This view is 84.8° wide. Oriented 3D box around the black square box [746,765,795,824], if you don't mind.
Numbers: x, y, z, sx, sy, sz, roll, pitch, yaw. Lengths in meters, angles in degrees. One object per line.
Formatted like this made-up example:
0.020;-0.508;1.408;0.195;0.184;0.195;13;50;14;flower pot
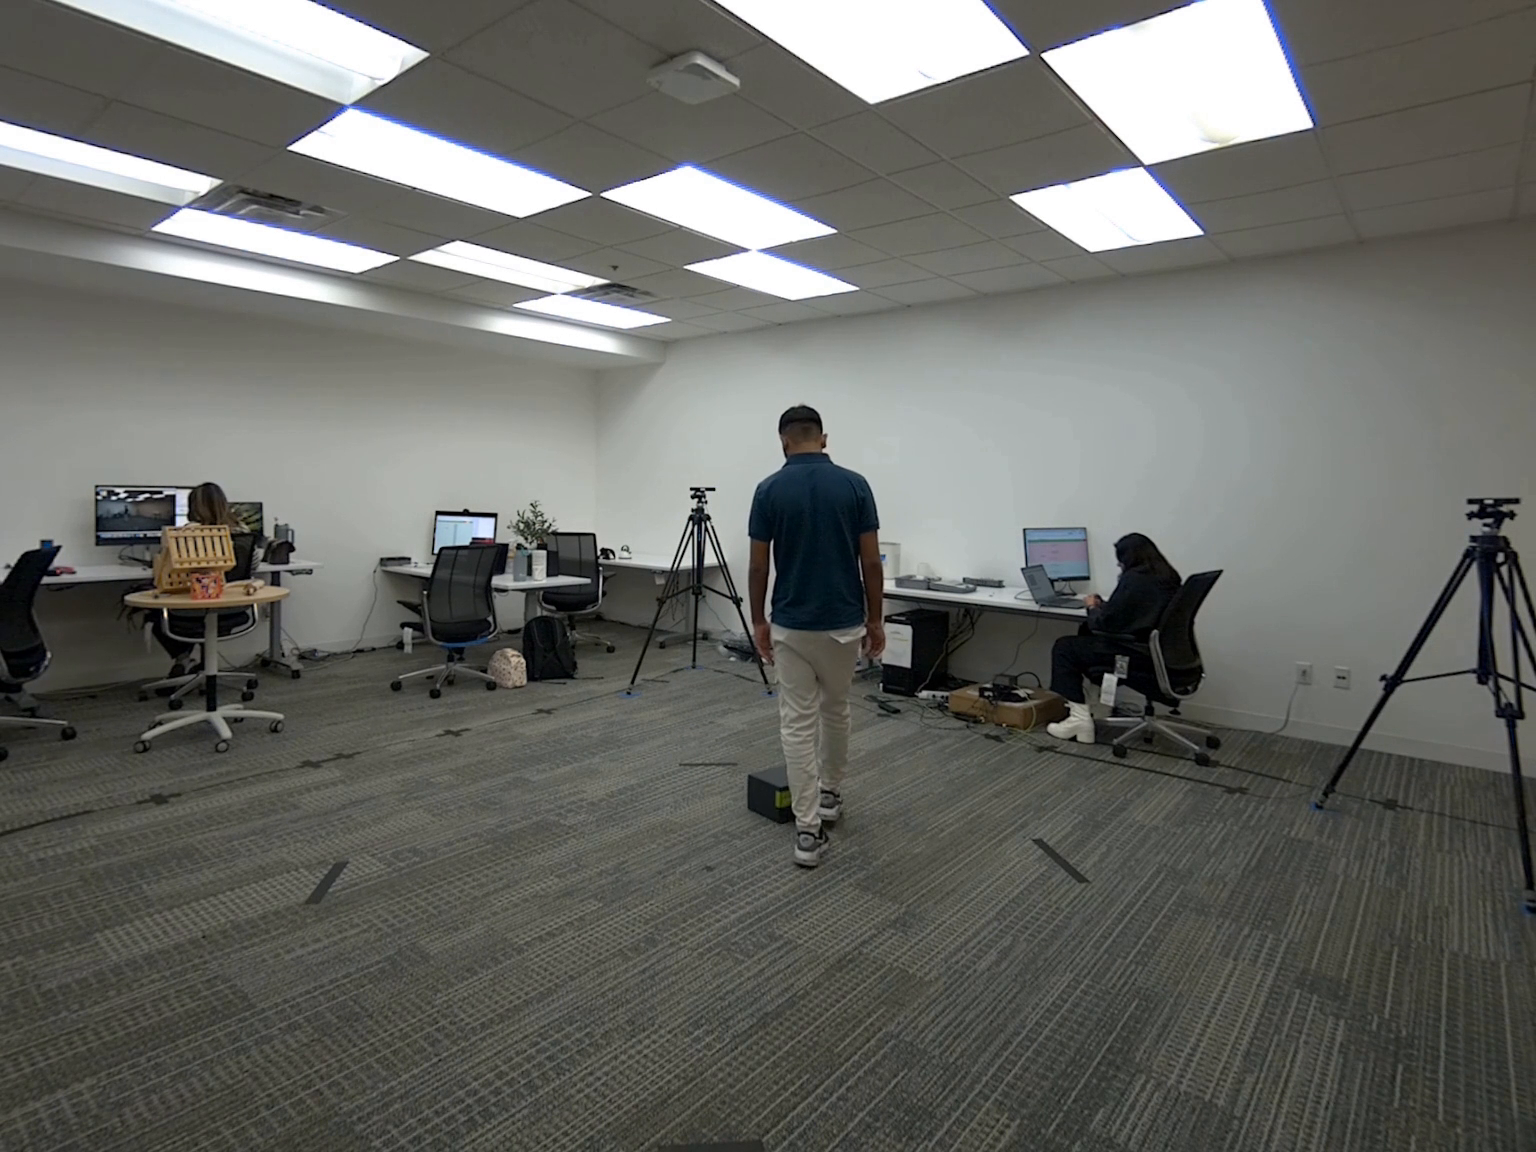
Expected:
0.051;0.932;3.676;0.221;0.155;0.224;-2;6;-40;black square box
